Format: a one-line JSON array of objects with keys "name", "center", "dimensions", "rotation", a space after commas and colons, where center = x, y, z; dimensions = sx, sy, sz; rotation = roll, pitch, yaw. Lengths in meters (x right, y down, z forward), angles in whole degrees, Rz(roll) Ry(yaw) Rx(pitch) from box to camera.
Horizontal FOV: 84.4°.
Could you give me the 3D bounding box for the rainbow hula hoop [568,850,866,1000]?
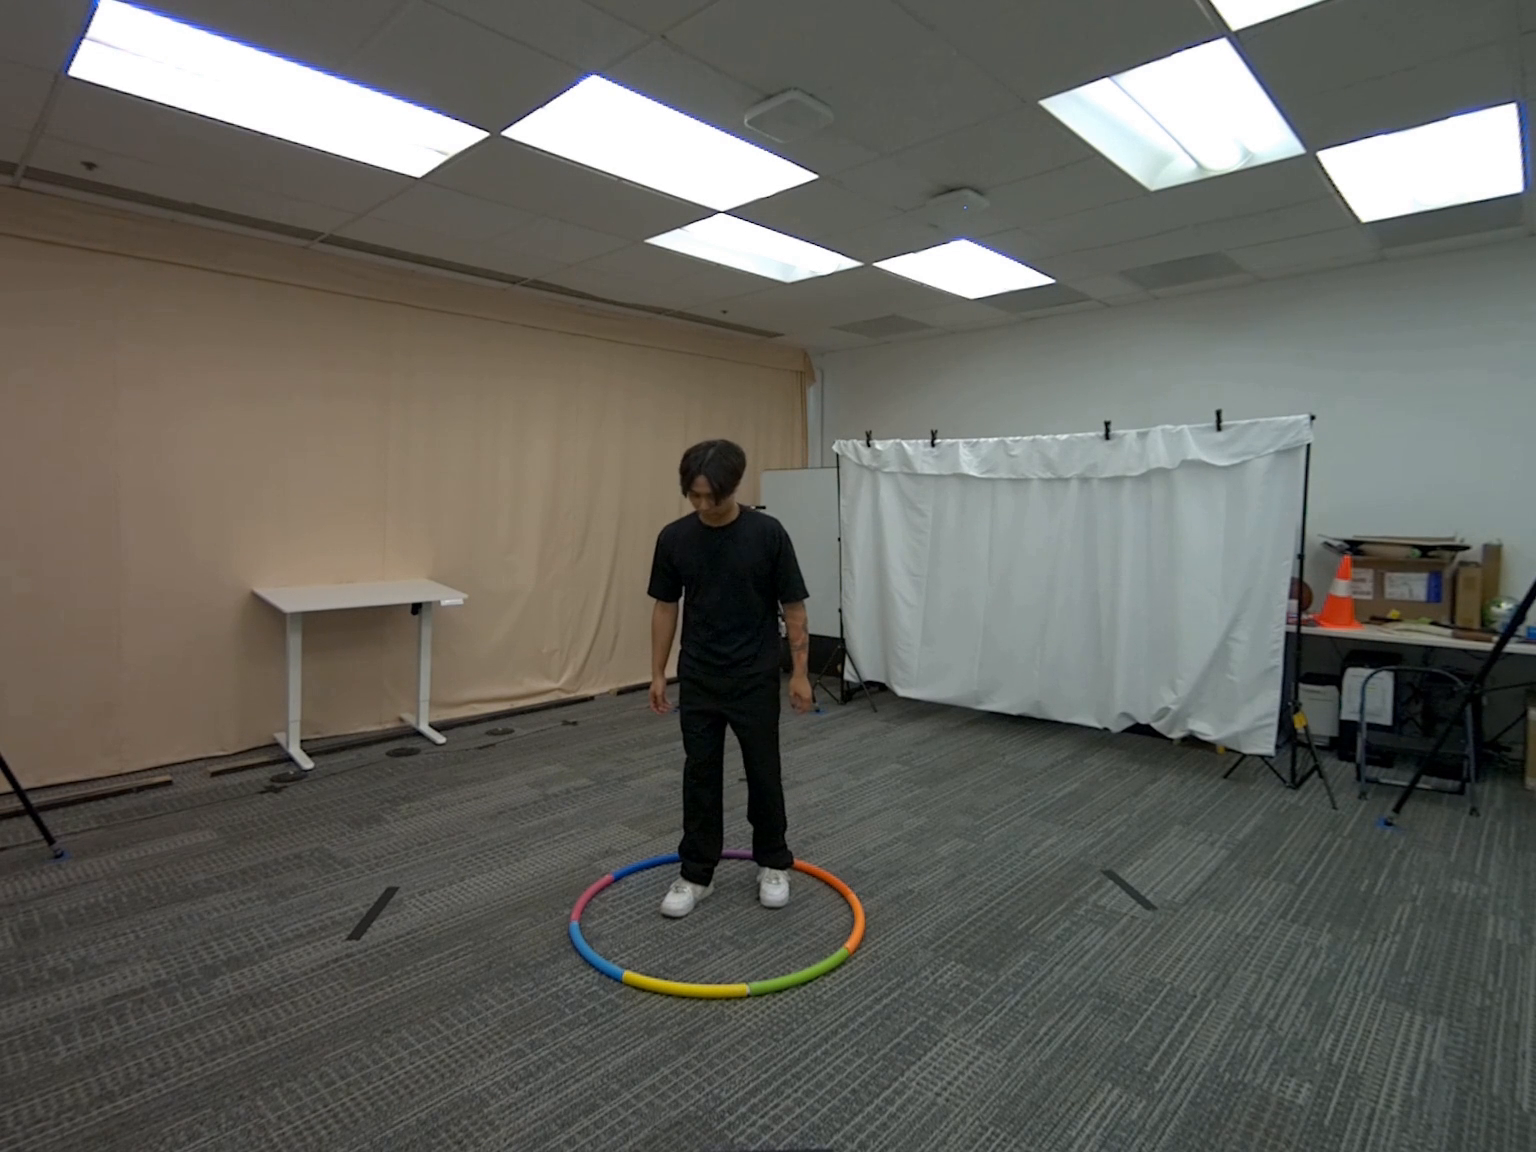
[{"name": "rainbow hula hoop", "center": [-0.170, 1.127, 2.859], "dimensions": [0.978, 0.035, 0.982], "rotation": [0, 5, -2]}]
